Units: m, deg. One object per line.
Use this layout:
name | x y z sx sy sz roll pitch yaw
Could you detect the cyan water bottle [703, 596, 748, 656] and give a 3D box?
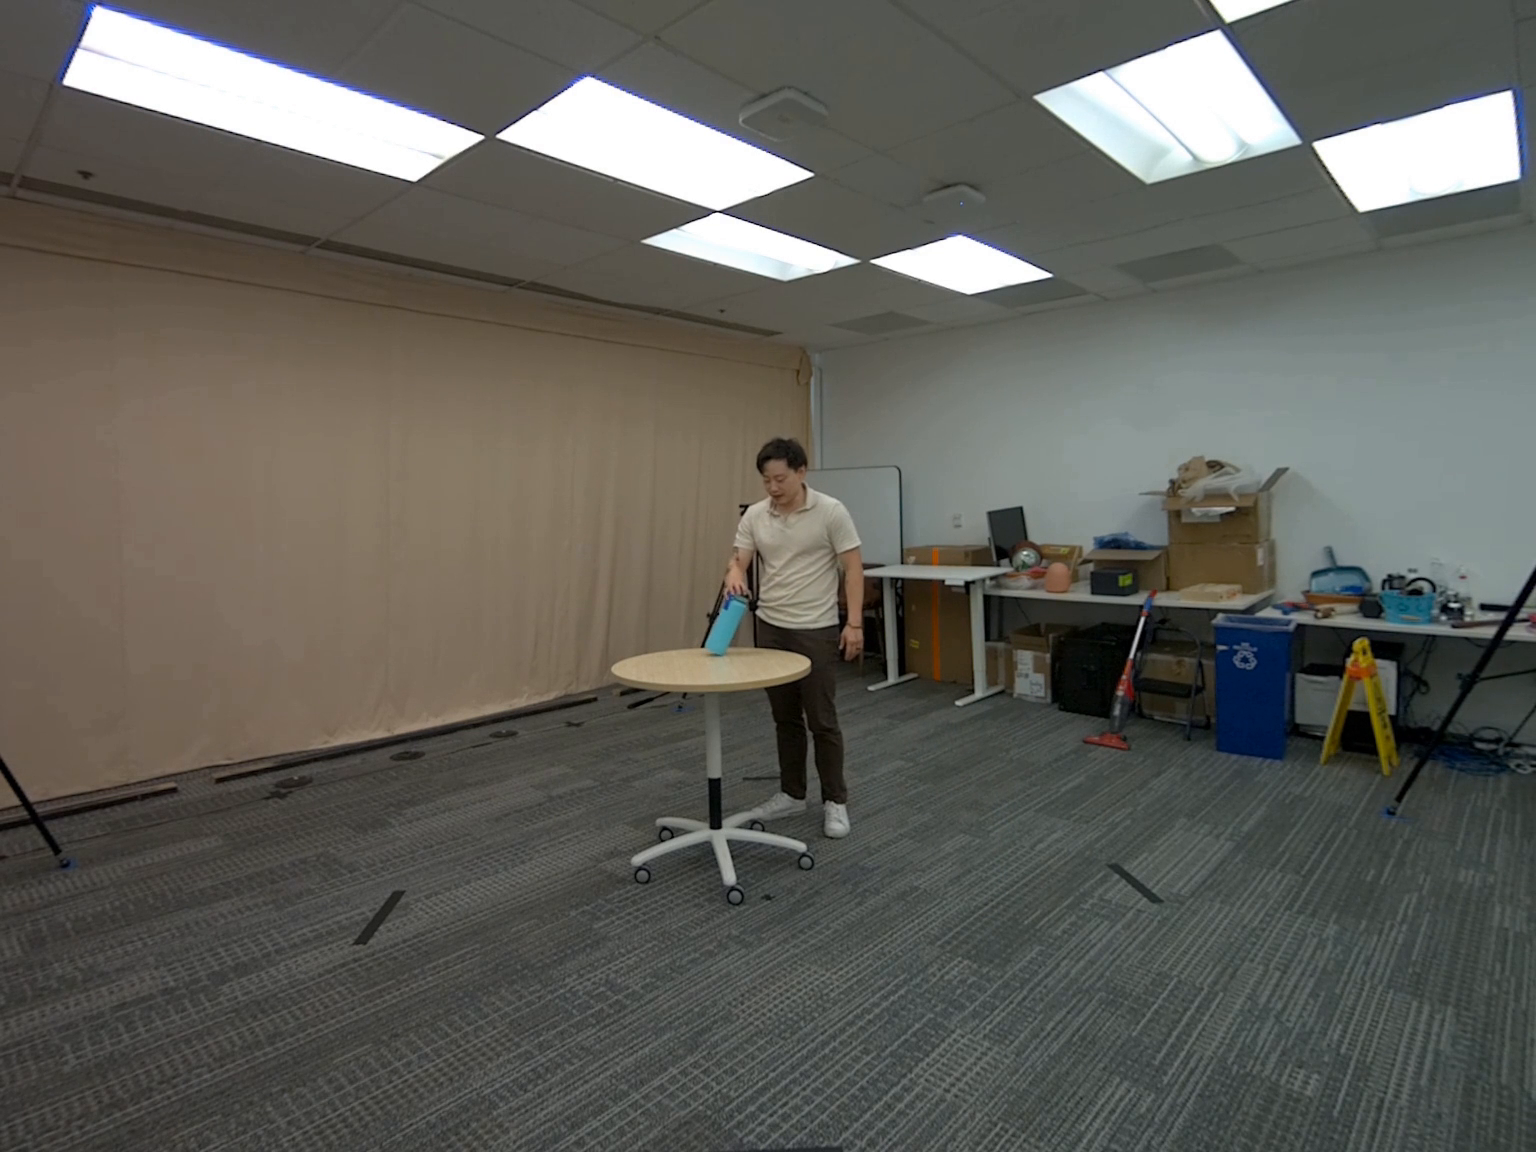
cyan water bottle | -0.161 0.180 3.429 0.092 0.283 0.092 24 2 -3
